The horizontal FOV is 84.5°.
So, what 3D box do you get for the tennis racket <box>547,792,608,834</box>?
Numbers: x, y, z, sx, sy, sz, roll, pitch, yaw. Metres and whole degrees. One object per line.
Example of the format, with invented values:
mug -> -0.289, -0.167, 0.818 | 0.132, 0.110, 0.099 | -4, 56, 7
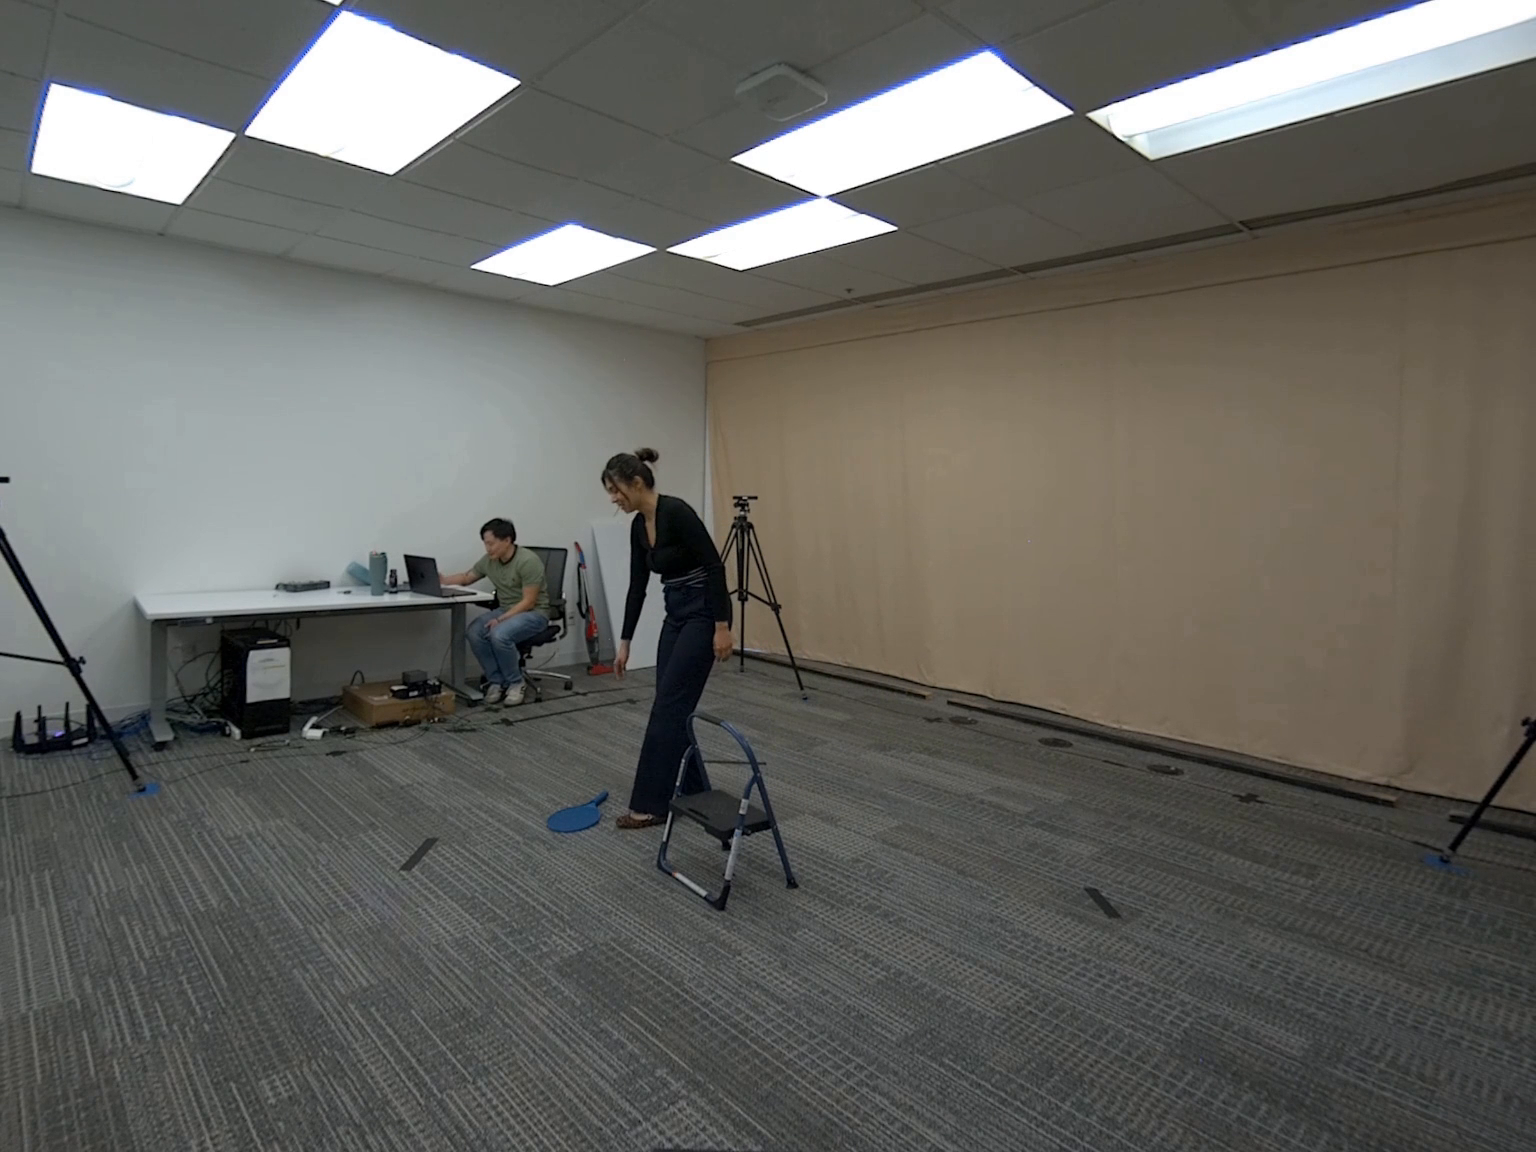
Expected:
tennis racket -> -0.814, 1.025, 3.662 | 0.216, 0.031, 0.429 | 2, 6, 14
